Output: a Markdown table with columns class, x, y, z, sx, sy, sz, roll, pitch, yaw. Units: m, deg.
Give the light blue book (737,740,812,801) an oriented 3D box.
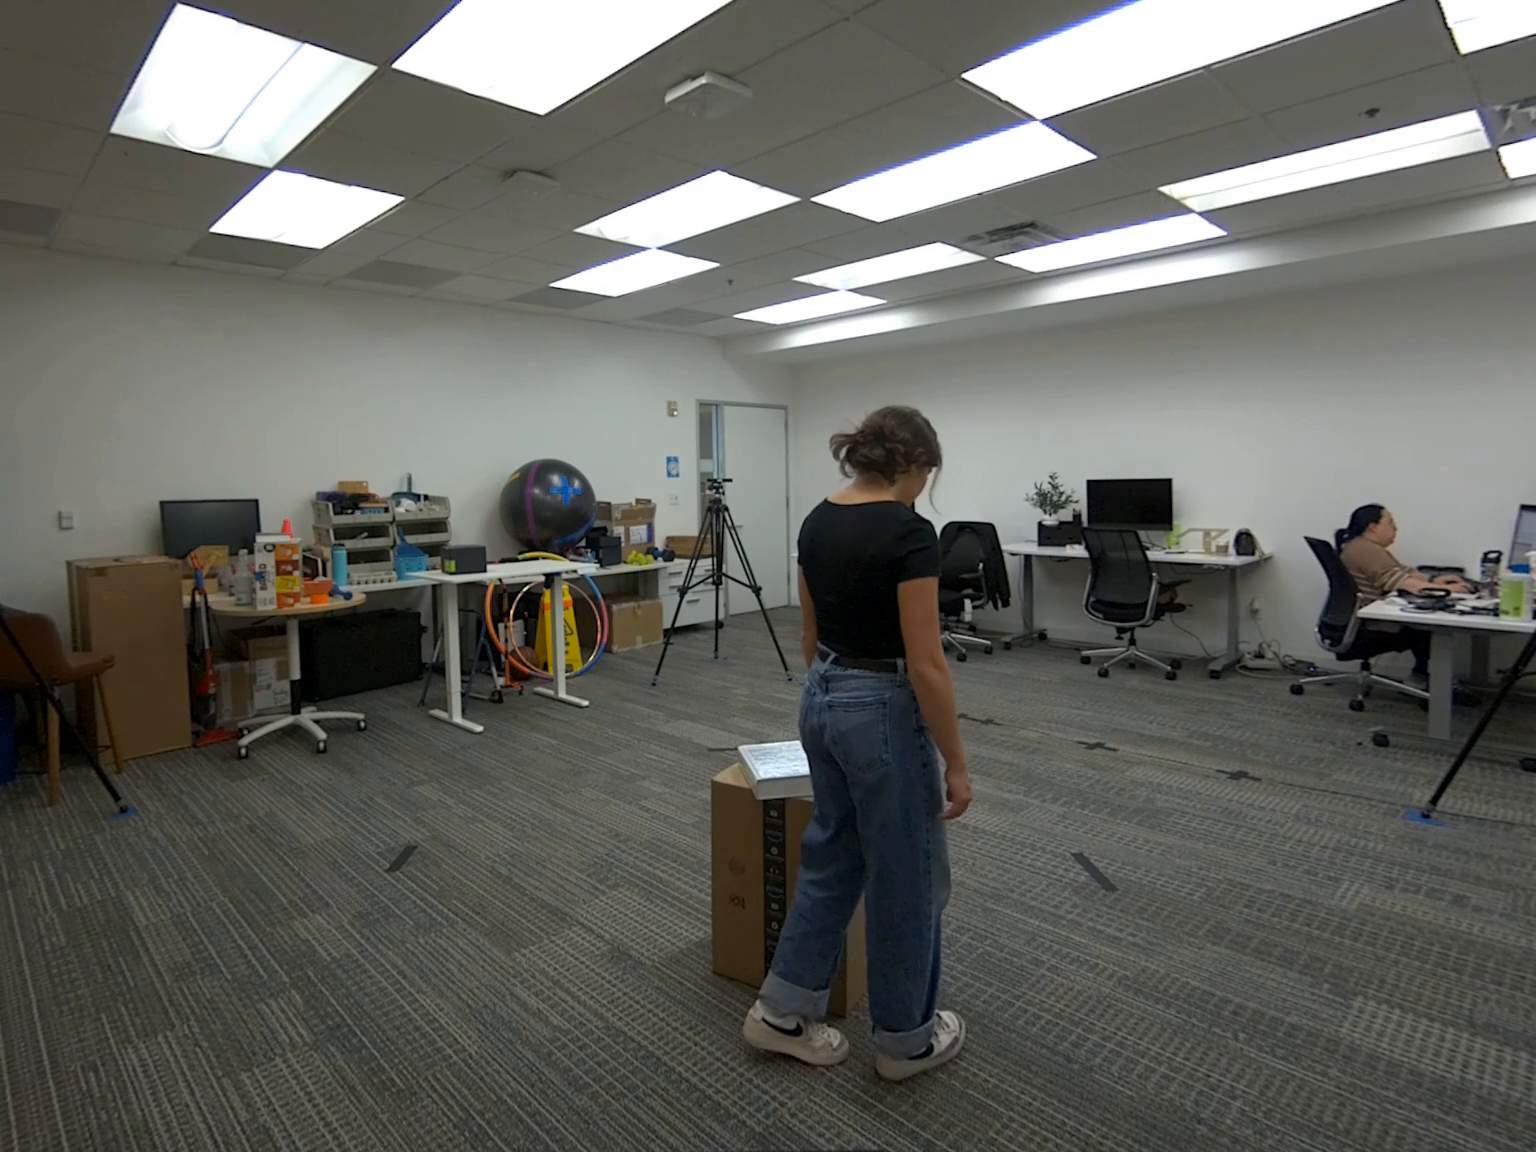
| class | x | y | z | sx | sy | sz | roll | pitch | yaw |
| --- | --- | --- | --- | --- | --- | --- | --- | --- | --- |
| light blue book | 0.032 | 0.540 | 2.363 | 0.189 | 0.058 | 0.265 | -3 | 8 | -11 |
